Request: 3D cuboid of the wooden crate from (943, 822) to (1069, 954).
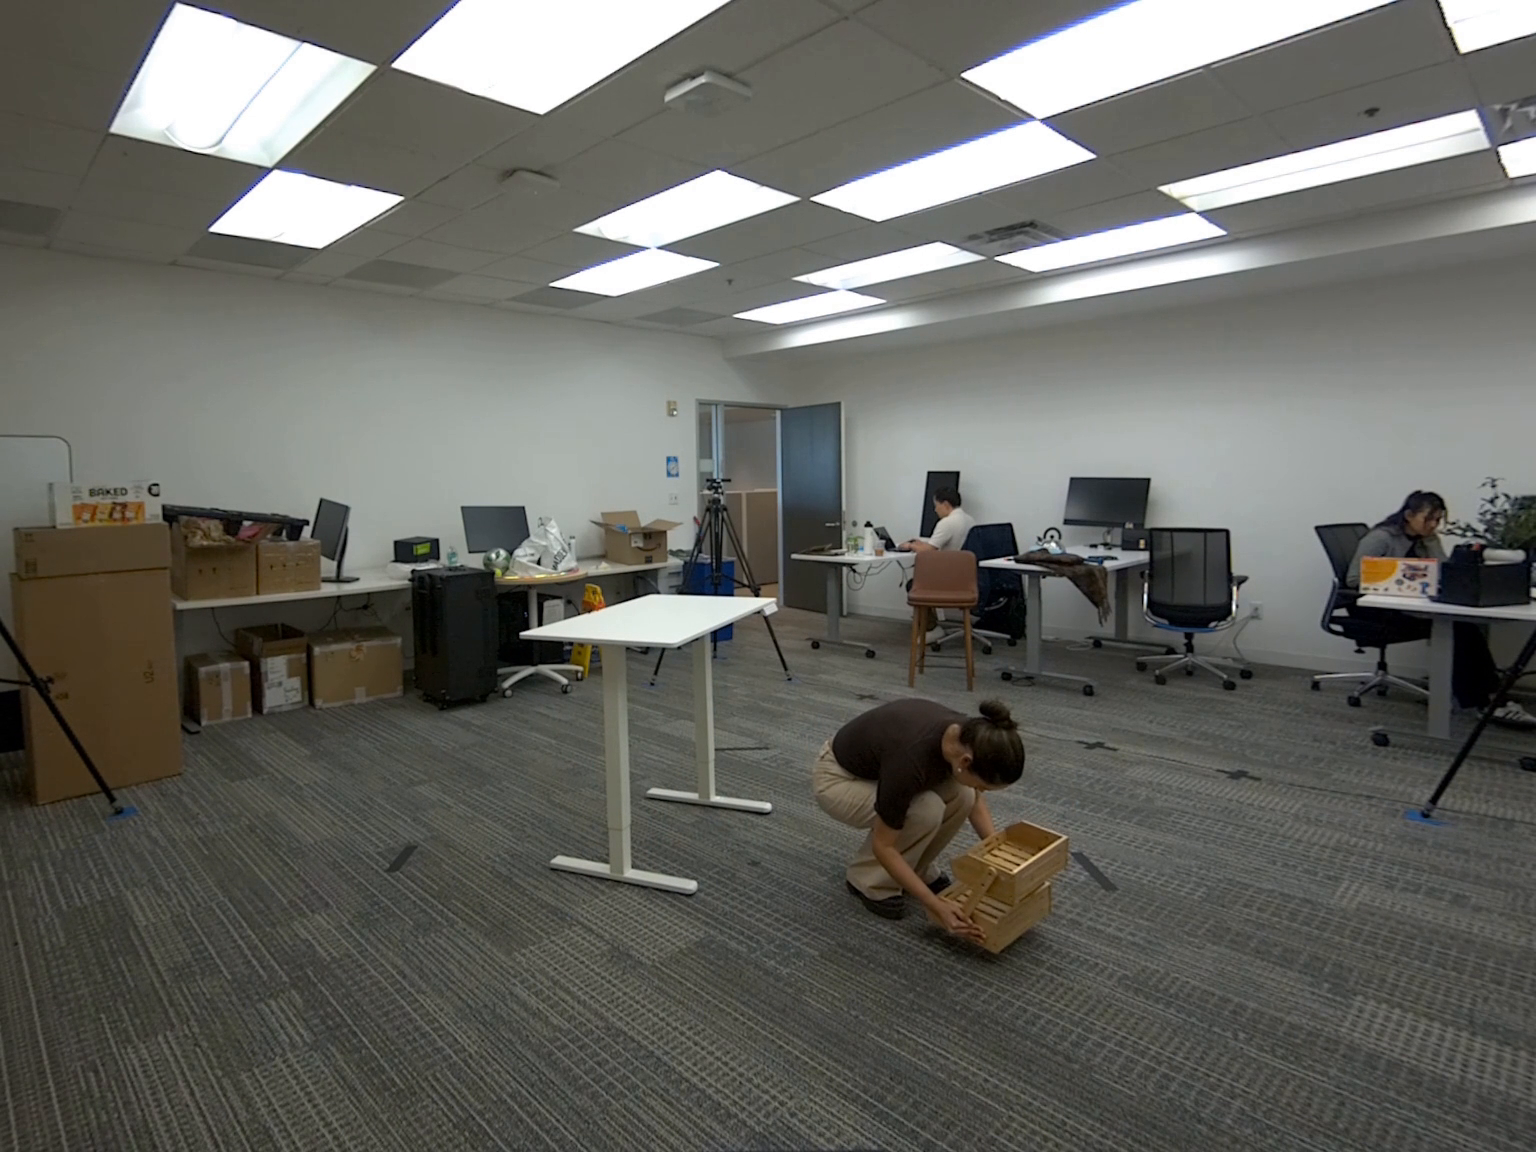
[{"bbox_3d":[0.686,0.901,2.551,0.317,0.271,0.312,-10,12,-40],"label":"wooden crate"}]
